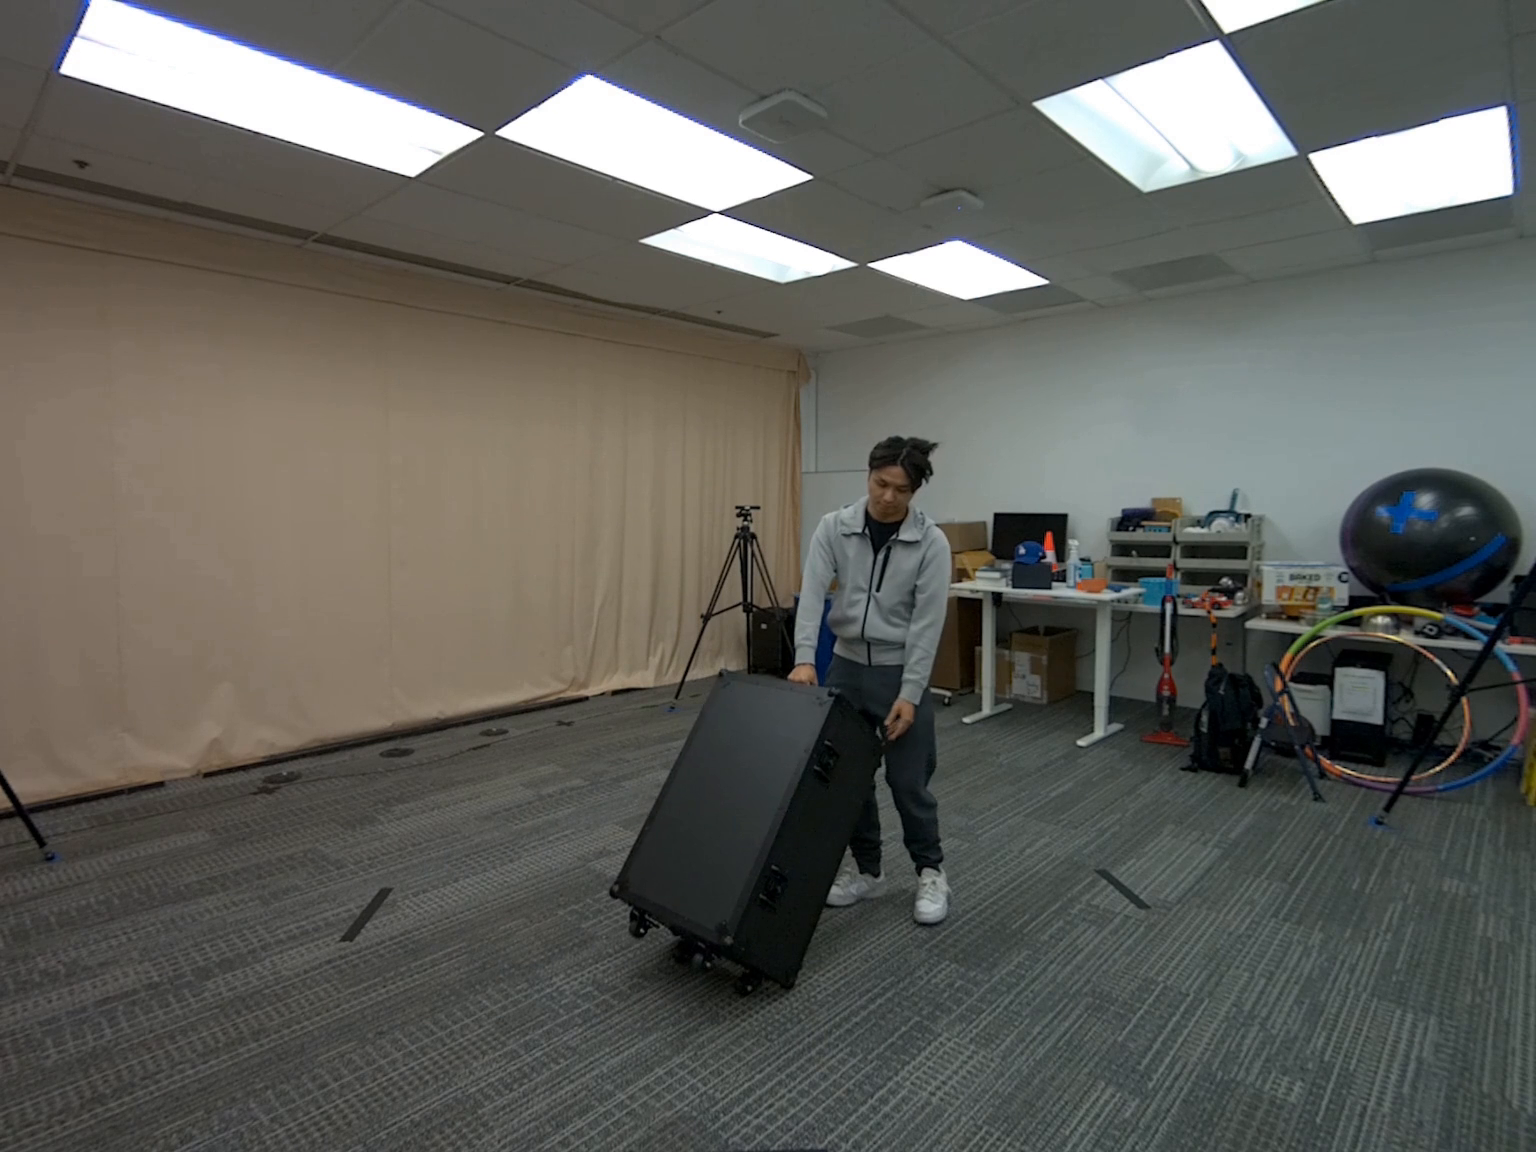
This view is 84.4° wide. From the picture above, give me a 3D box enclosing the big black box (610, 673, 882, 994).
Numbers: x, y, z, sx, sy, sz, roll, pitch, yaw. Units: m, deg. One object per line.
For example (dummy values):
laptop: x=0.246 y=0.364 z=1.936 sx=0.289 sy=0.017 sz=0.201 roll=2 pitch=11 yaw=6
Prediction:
big black box: x=-0.055 y=0.782 z=2.604 sx=0.538 sy=0.862 sz=0.383 roll=3 pitch=-36 yaw=41
